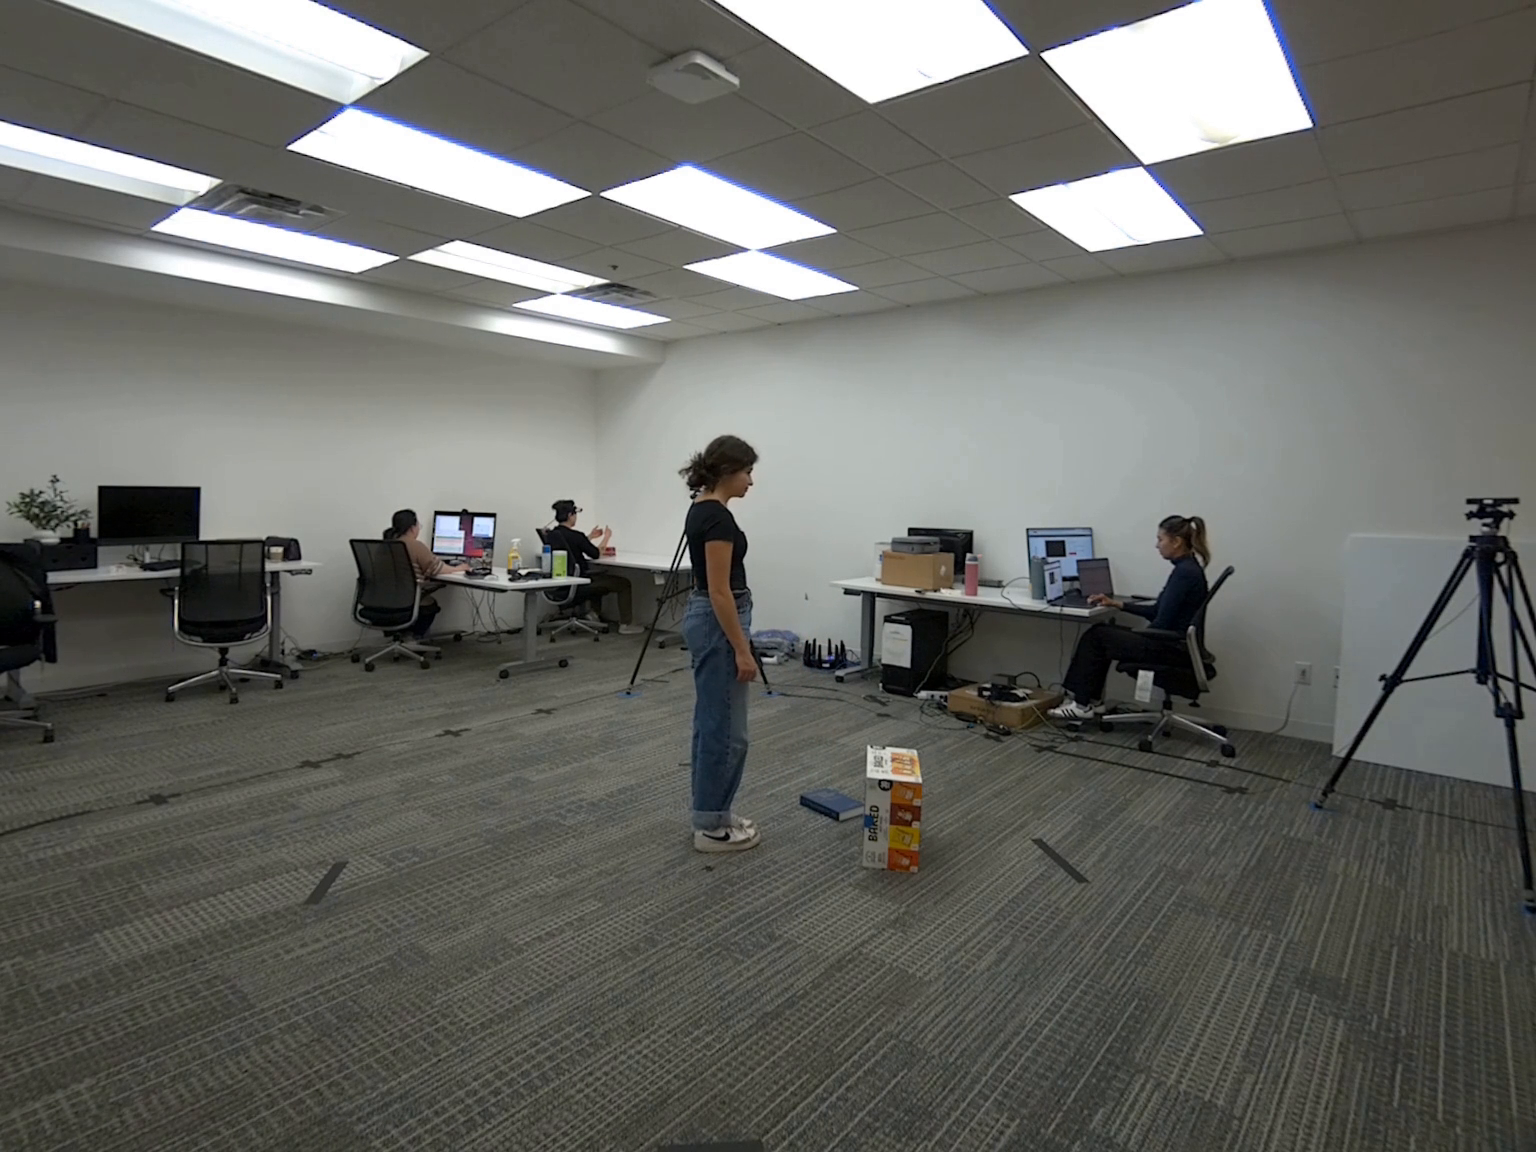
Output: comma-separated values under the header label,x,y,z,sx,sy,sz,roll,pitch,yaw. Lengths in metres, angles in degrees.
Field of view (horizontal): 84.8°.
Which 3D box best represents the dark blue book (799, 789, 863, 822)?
label,x,y,z,sx,sy,sz,roll,pitch,yaw
dark blue book,0.276,0.997,3.724,0.158,0.045,0.253,-3,8,-39
